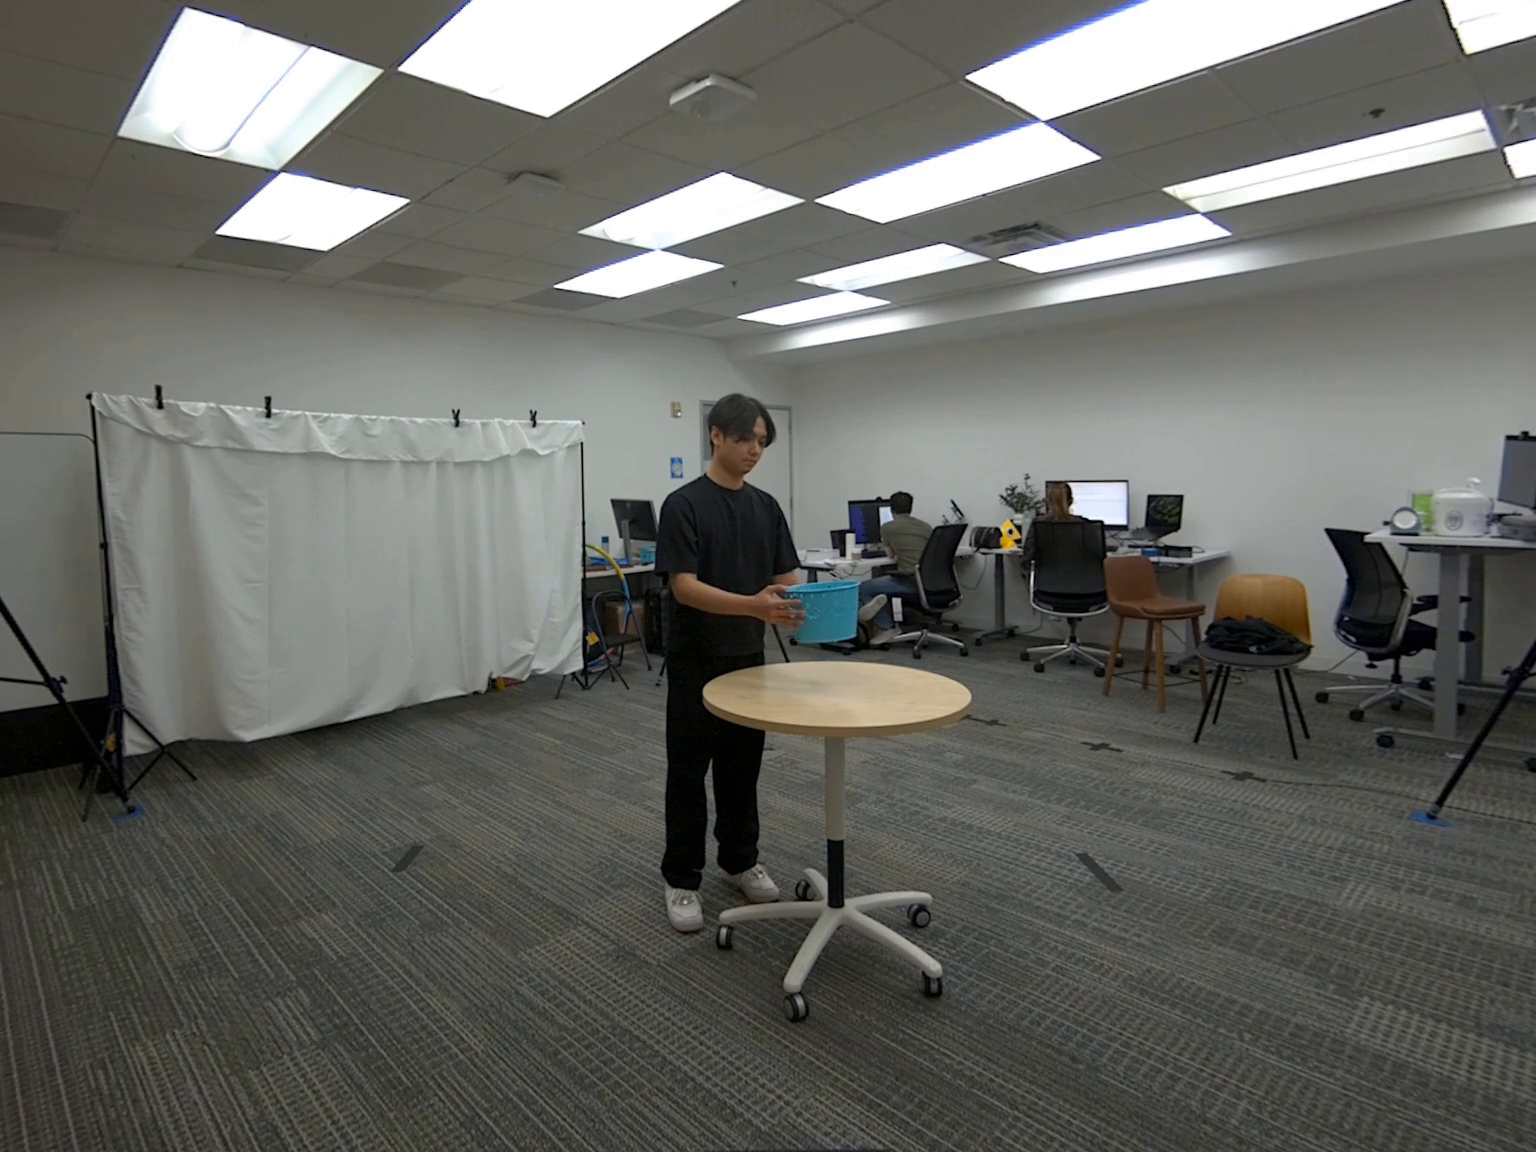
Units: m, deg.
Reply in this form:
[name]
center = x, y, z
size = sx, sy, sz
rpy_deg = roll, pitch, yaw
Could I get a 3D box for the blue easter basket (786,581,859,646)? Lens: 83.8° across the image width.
[blue easter basket]
center = 0.144, 0.105, 2.520
size = 0.243, 0.155, 0.244
rpy_deg = -4, 4, -1
